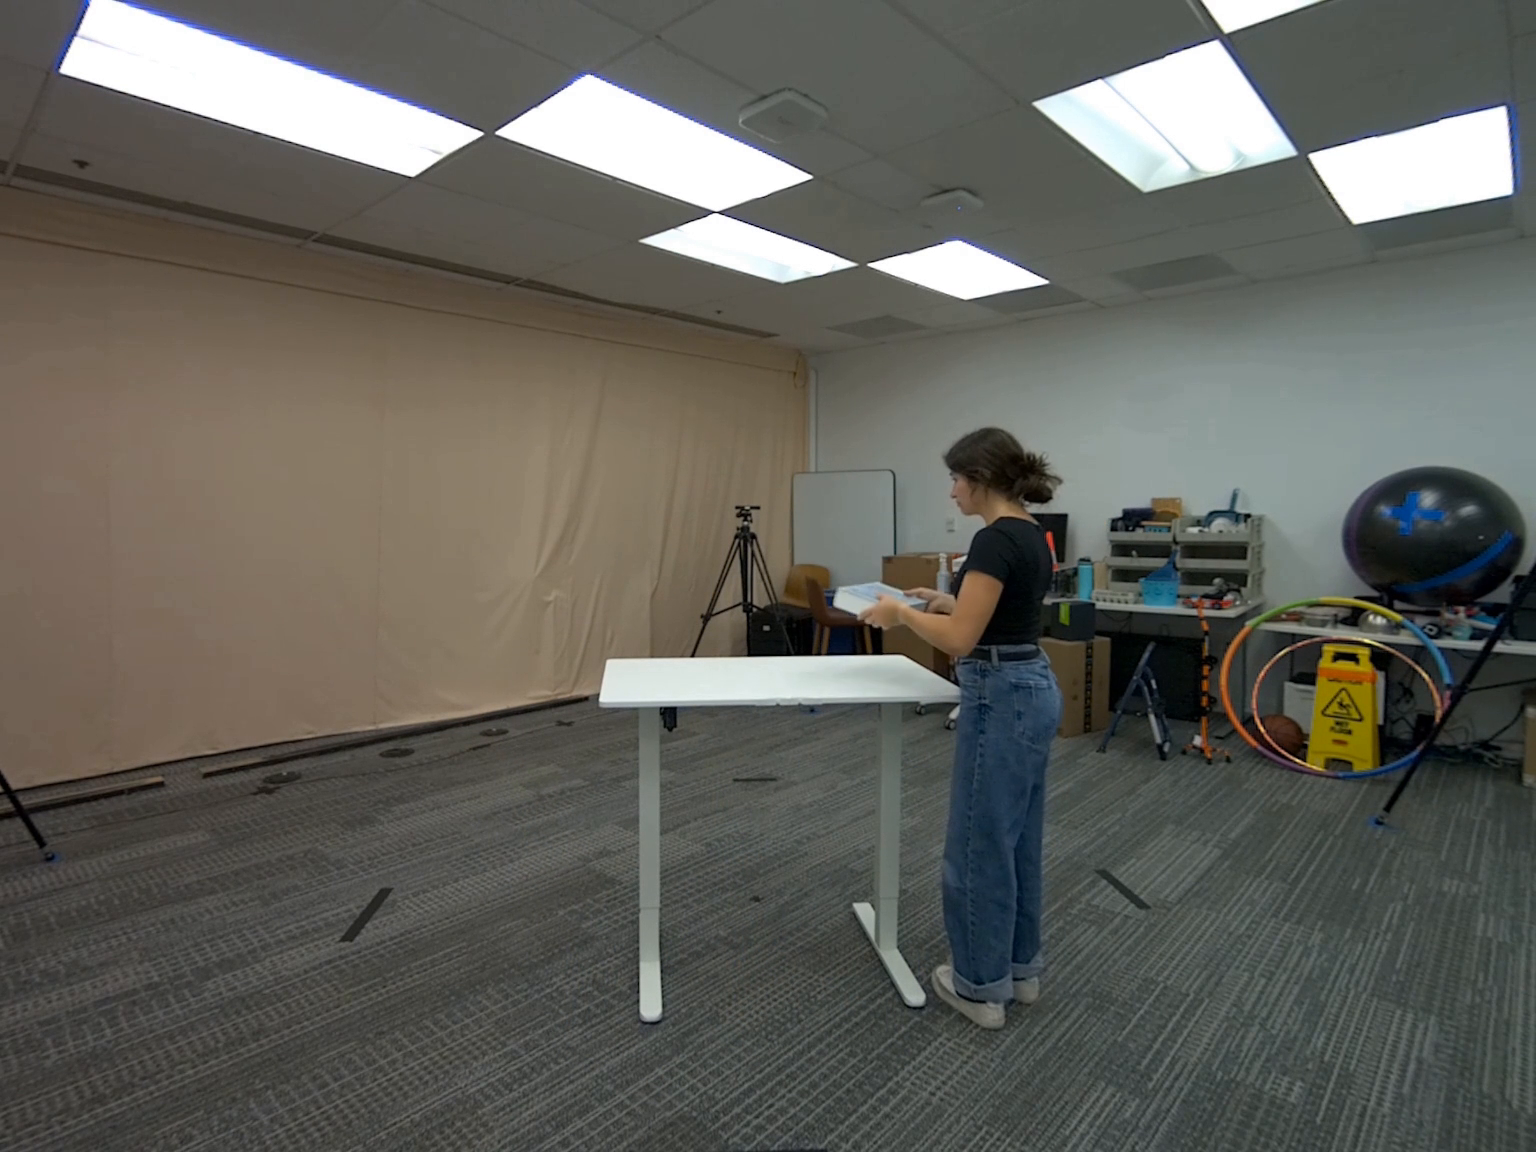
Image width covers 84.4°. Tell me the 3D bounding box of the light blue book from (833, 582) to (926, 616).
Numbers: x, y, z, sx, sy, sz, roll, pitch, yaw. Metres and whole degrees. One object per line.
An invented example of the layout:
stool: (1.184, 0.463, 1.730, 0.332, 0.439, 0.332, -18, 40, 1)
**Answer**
light blue book: (0.350, 0.074, 2.486, 0.198, 0.059, 0.253, 18, 12, 32)
